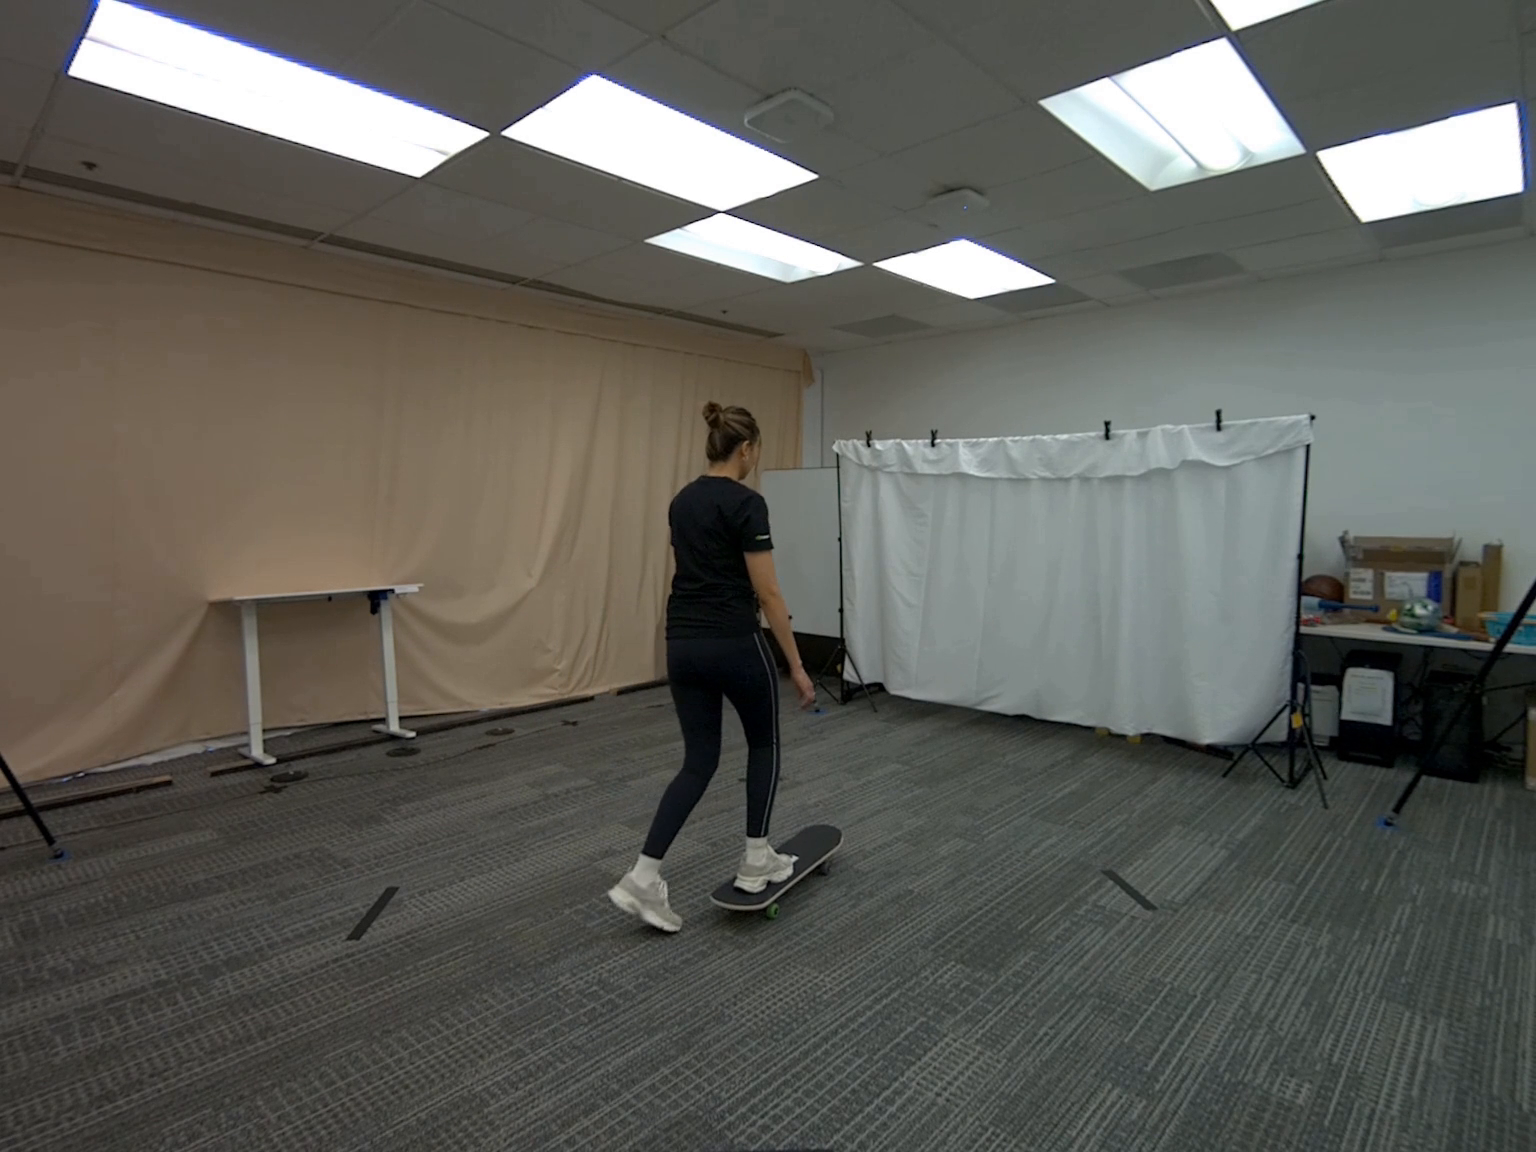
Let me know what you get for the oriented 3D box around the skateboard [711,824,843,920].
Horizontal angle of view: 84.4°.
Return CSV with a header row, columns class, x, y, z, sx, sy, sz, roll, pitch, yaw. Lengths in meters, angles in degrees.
class,x,y,z,sx,sy,sz,roll,pitch,yaw
skateboard,0.051,1.085,3.052,0.199,0.110,0.764,2,6,31
